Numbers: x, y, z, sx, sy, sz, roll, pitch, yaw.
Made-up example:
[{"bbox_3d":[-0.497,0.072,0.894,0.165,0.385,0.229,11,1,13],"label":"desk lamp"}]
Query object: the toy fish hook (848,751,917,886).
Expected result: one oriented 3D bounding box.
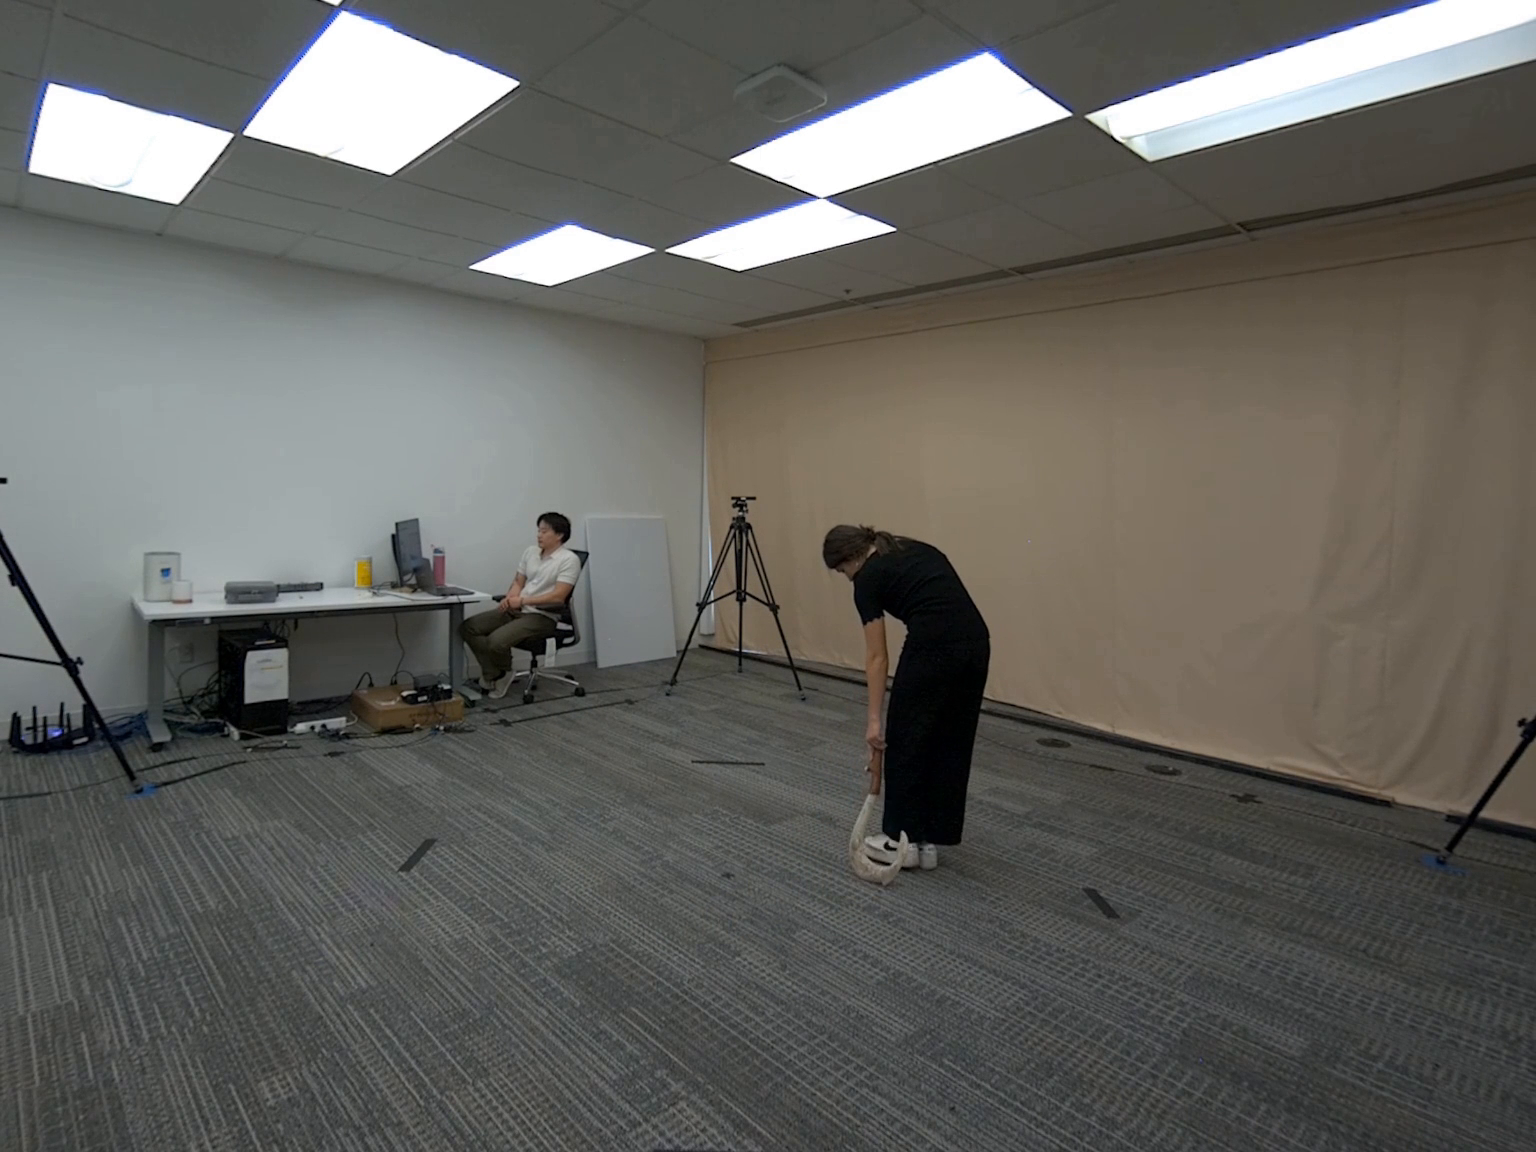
[{"bbox_3d":[0.421,0.880,3.135,0.229,0.511,0.047,1,-16,27],"label":"toy fish hook"}]
